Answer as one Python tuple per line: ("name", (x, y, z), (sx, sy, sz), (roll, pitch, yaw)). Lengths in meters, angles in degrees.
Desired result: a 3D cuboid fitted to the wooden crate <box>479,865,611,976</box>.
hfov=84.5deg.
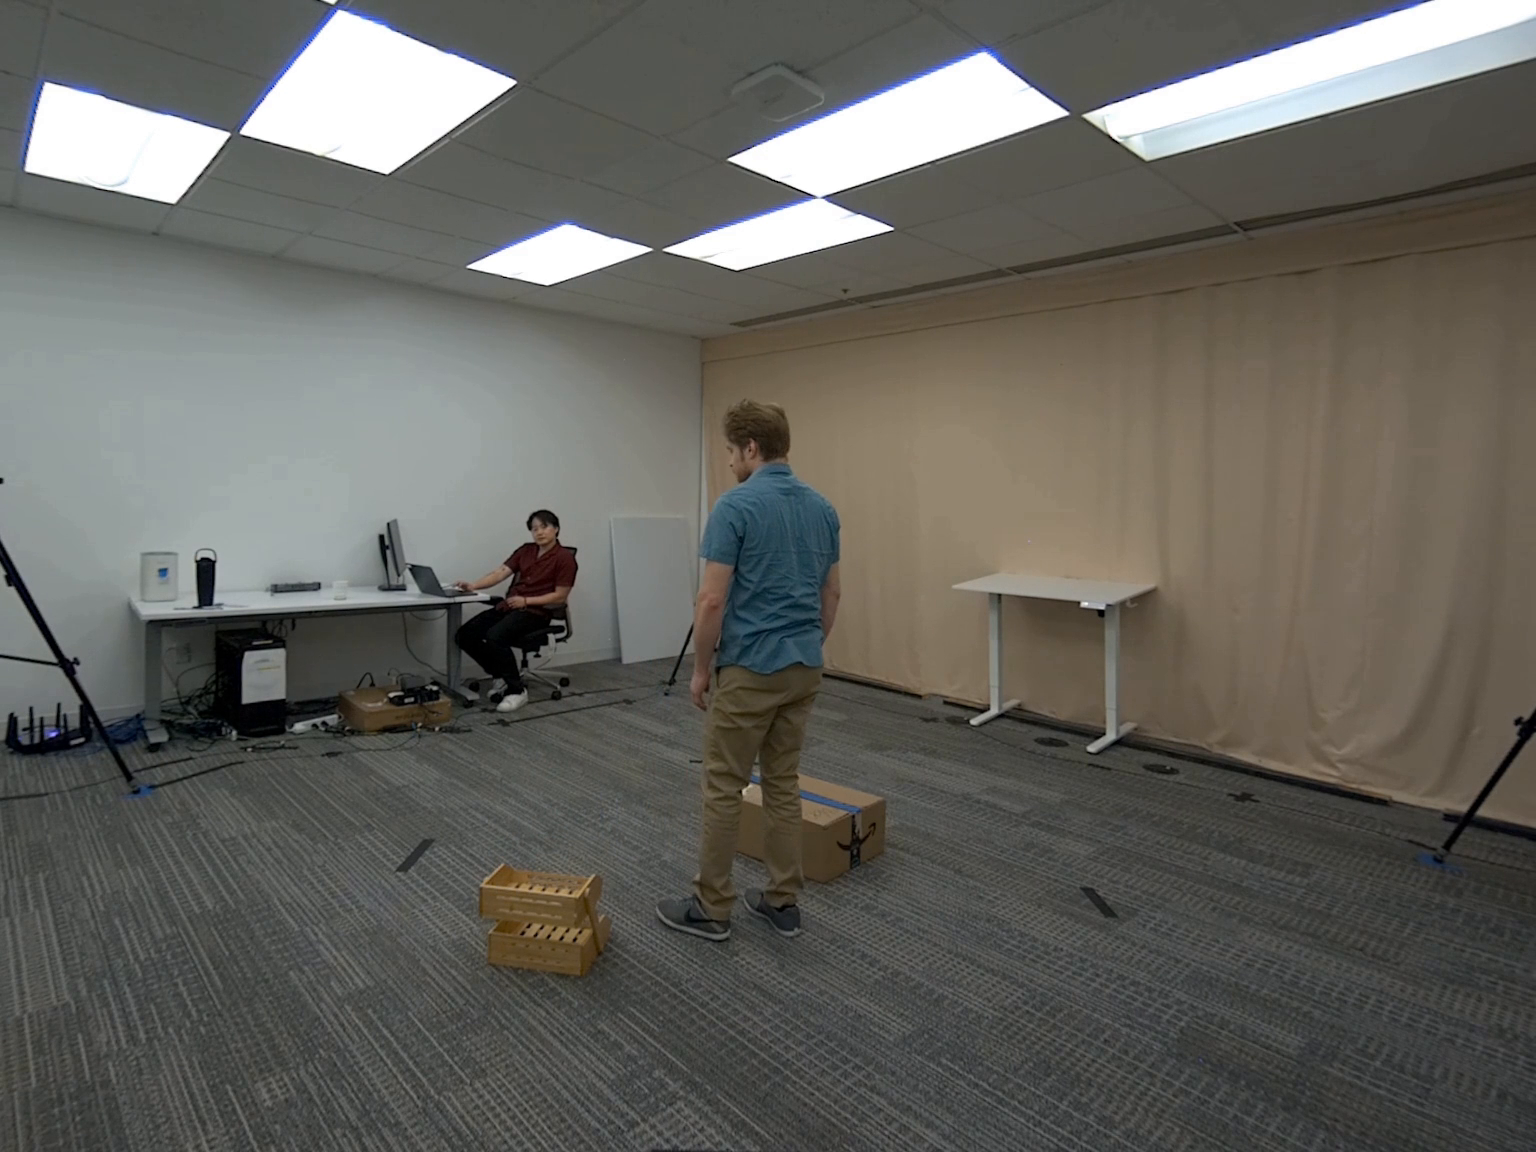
("wooden crate", (-0.673, 1.010, 2.548), (0.327, 0.272, 0.300), (2, 5, 9))
